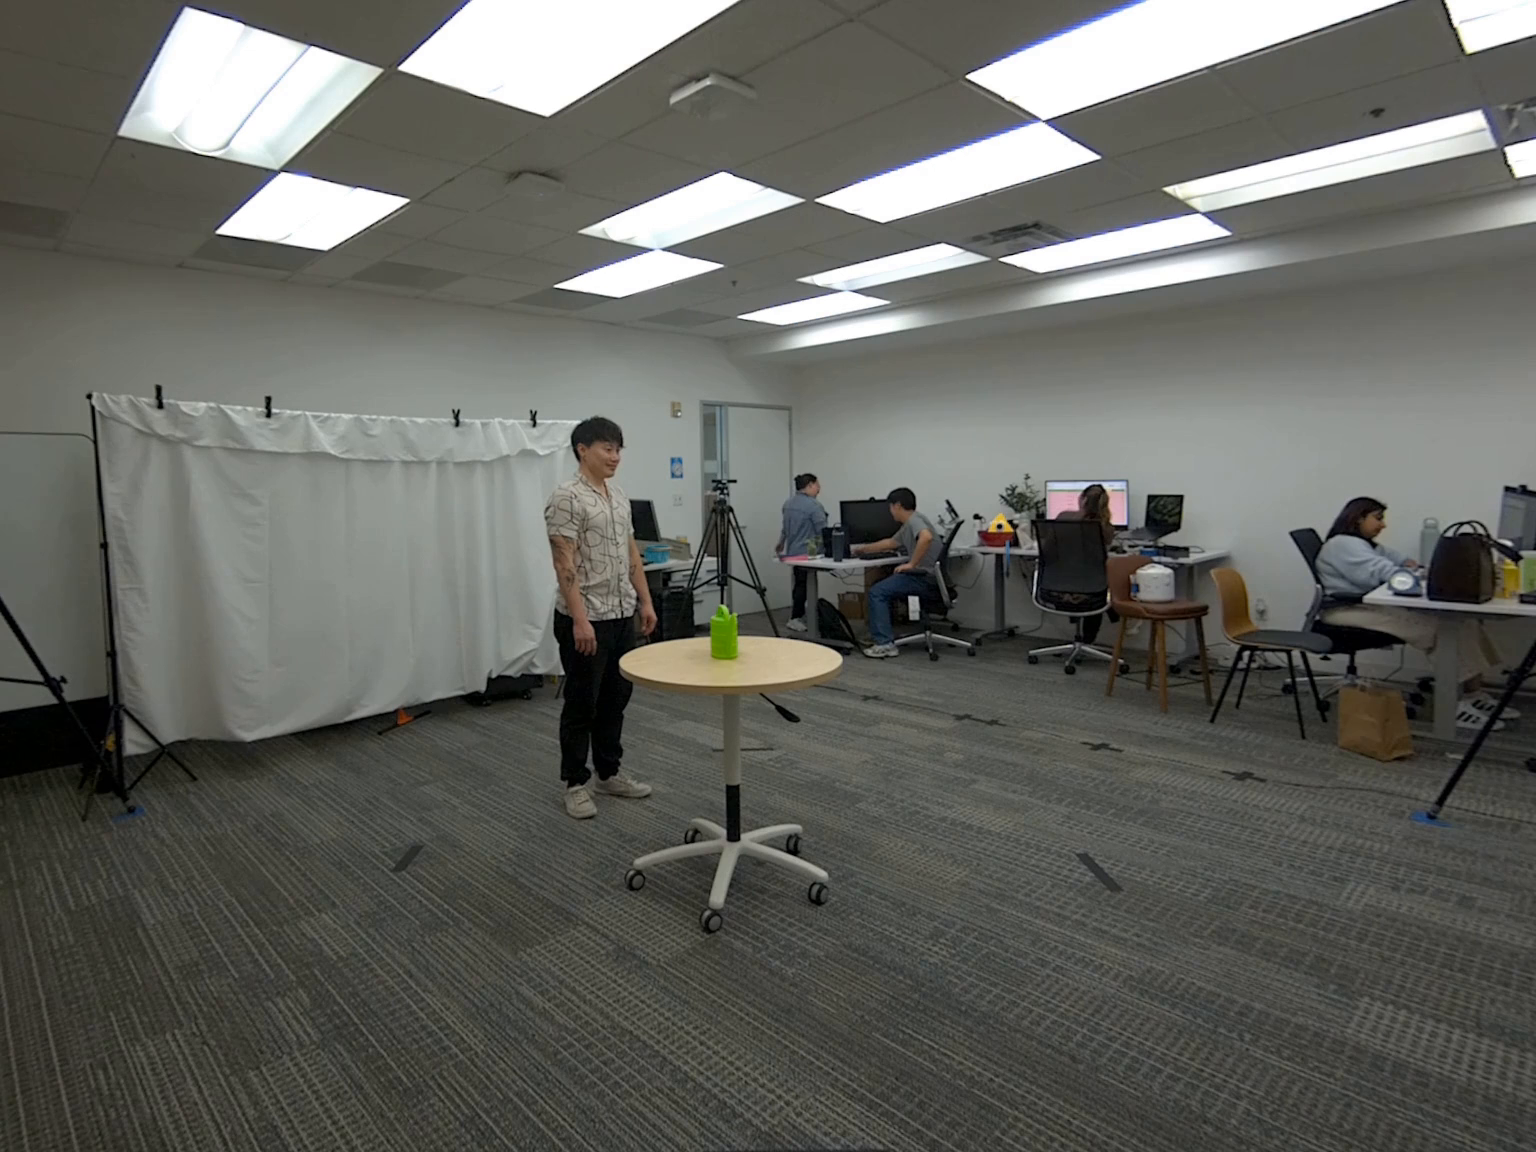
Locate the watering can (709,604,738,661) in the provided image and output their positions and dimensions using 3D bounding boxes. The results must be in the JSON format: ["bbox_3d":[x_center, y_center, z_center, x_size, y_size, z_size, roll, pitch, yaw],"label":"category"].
[{"bbox_3d":[-0.152,0.204,2.935,0.098,0.176,0.279,-4,6,1],"label":"watering can"}]
